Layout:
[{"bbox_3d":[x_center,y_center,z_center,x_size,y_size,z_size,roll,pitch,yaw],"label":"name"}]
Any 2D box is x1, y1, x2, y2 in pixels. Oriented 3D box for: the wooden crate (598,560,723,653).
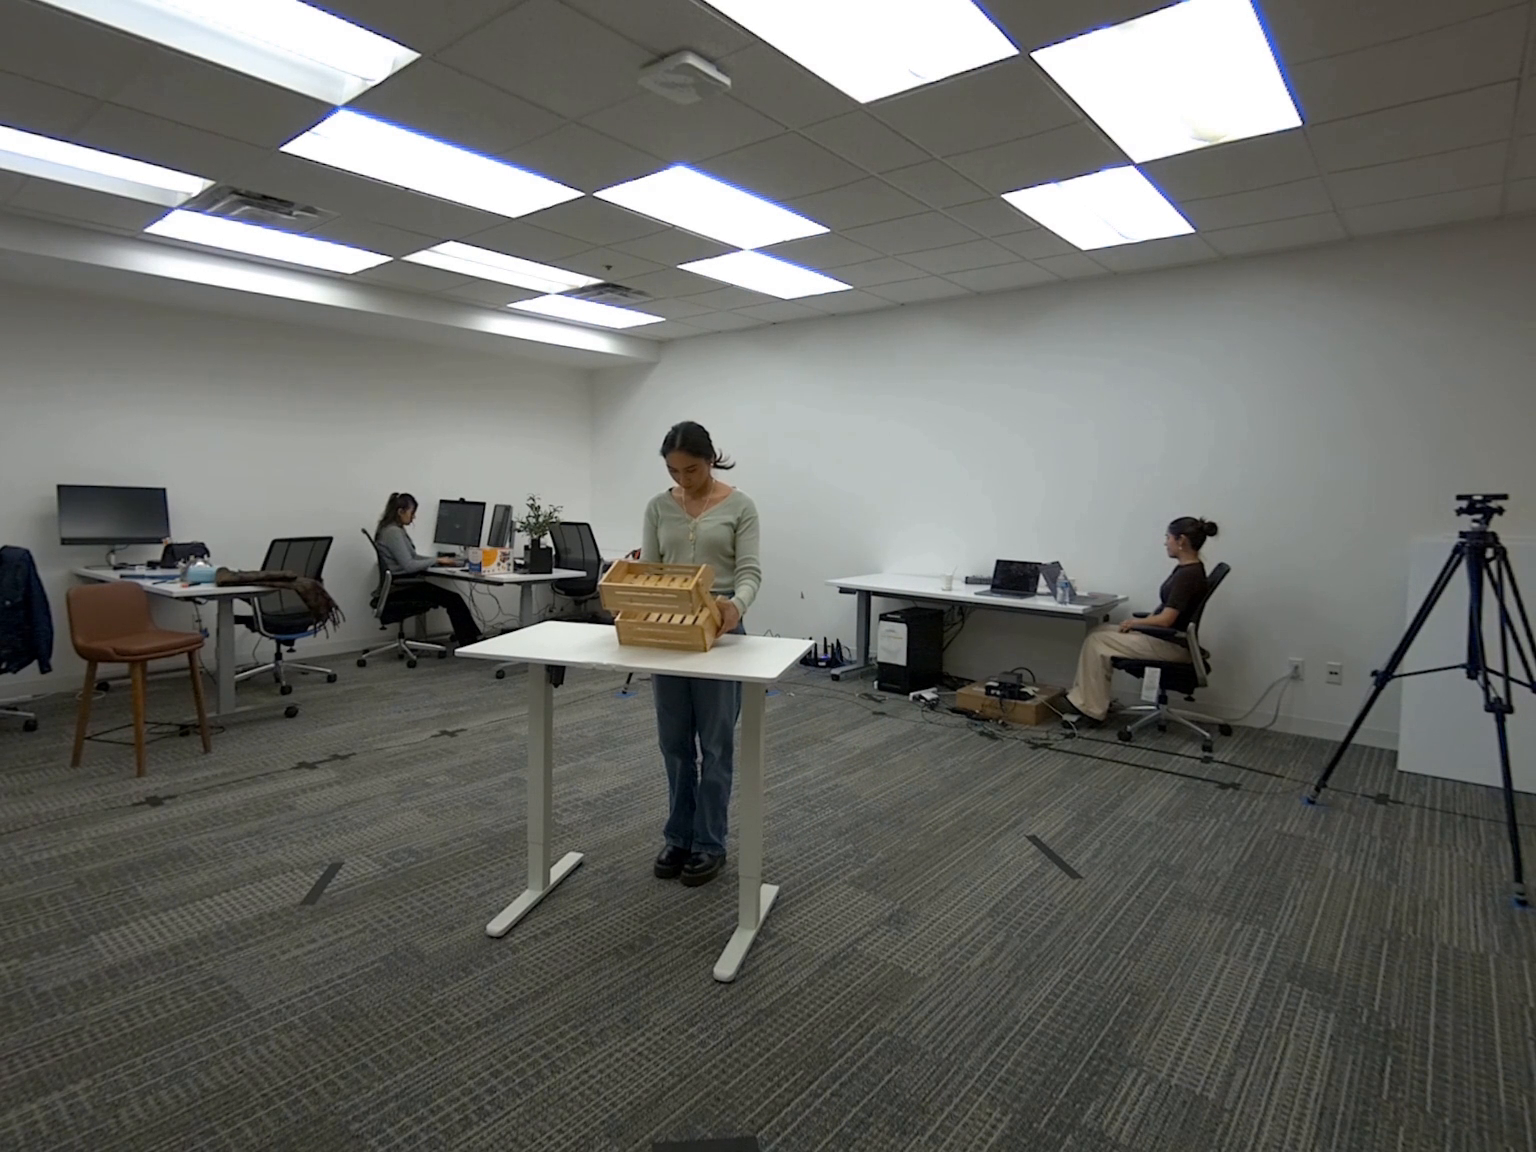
[{"bbox_3d":[-0.331,0.060,2.699,0.330,0.266,0.304,2,30,16],"label":"wooden crate"}]
